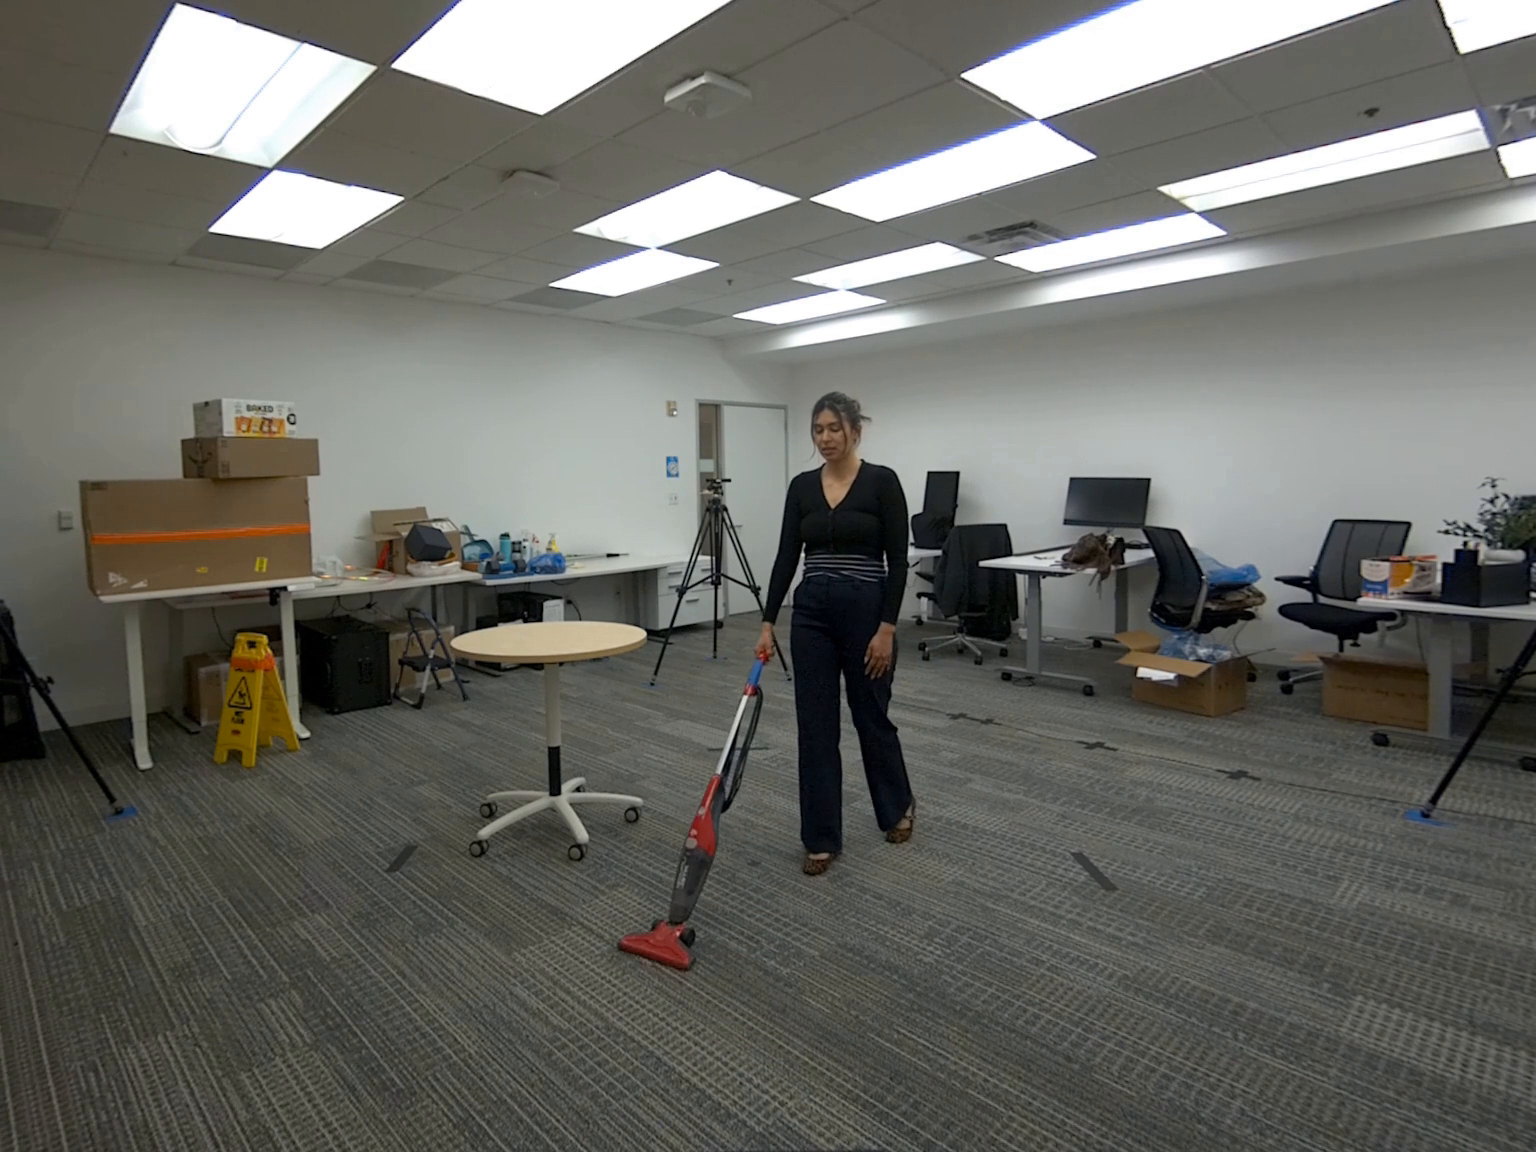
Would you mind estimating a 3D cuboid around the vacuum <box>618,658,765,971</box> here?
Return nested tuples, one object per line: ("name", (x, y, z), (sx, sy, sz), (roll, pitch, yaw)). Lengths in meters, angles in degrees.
("vacuum", (-0.149, 0.688, 2.822), (0.259, 1.062, 0.138), (1, -37, 30))
